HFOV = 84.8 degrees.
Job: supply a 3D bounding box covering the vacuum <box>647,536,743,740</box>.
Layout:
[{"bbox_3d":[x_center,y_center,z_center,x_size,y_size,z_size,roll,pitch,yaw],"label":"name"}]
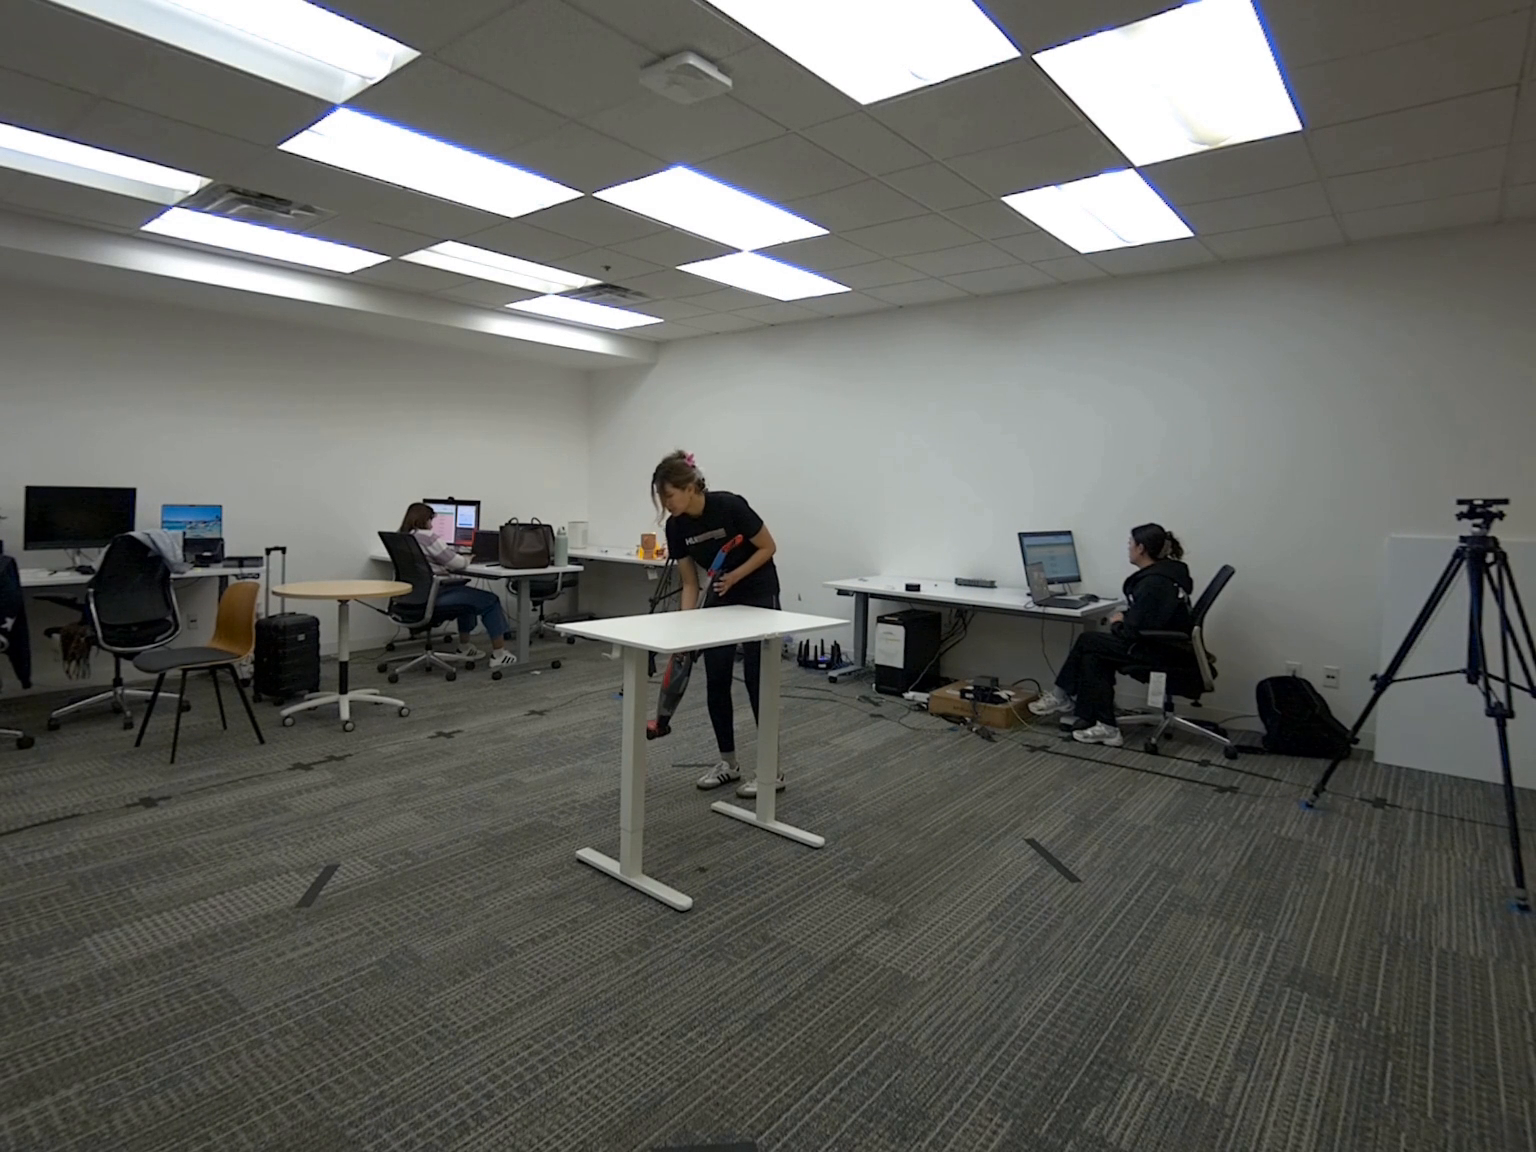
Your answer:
[{"bbox_3d":[-0.356,0.278,3.815,0.149,1.042,0.246,34,19,26],"label":"vacuum"}]
